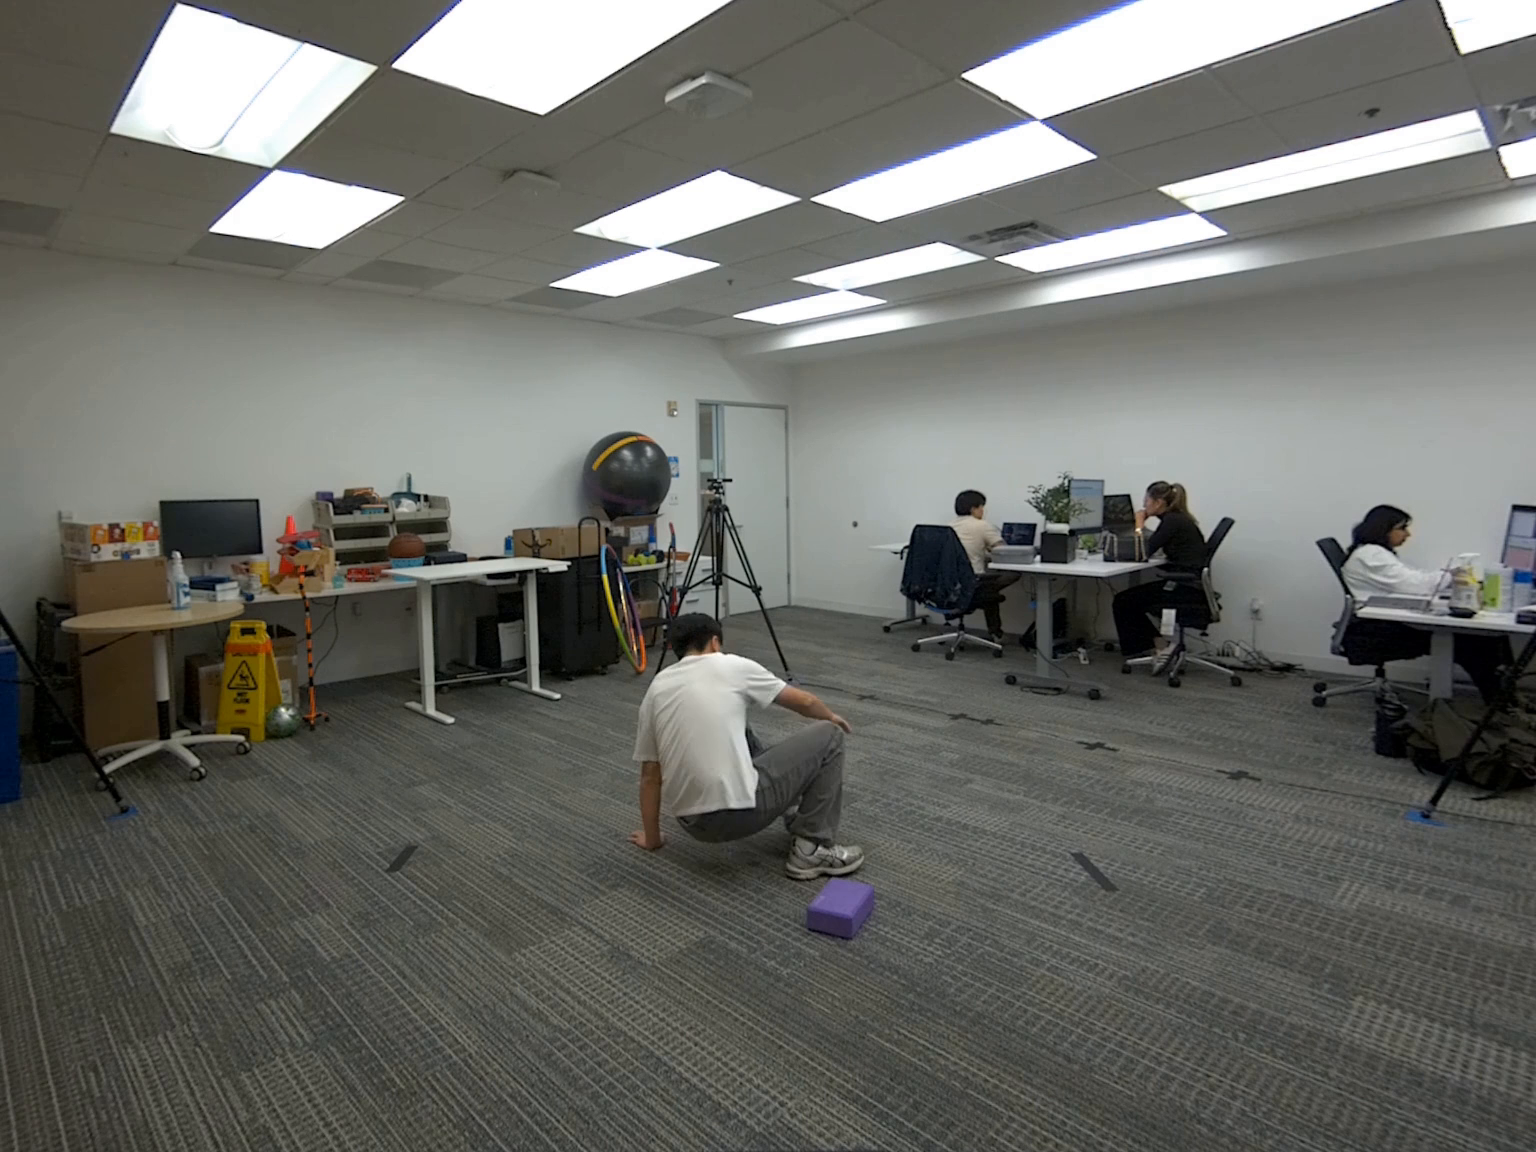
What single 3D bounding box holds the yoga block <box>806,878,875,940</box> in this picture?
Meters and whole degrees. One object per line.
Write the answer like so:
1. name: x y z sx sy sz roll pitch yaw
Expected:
1. yoga block: 0.233 1.051 2.710 0.152 0.076 0.225 1 6 26
